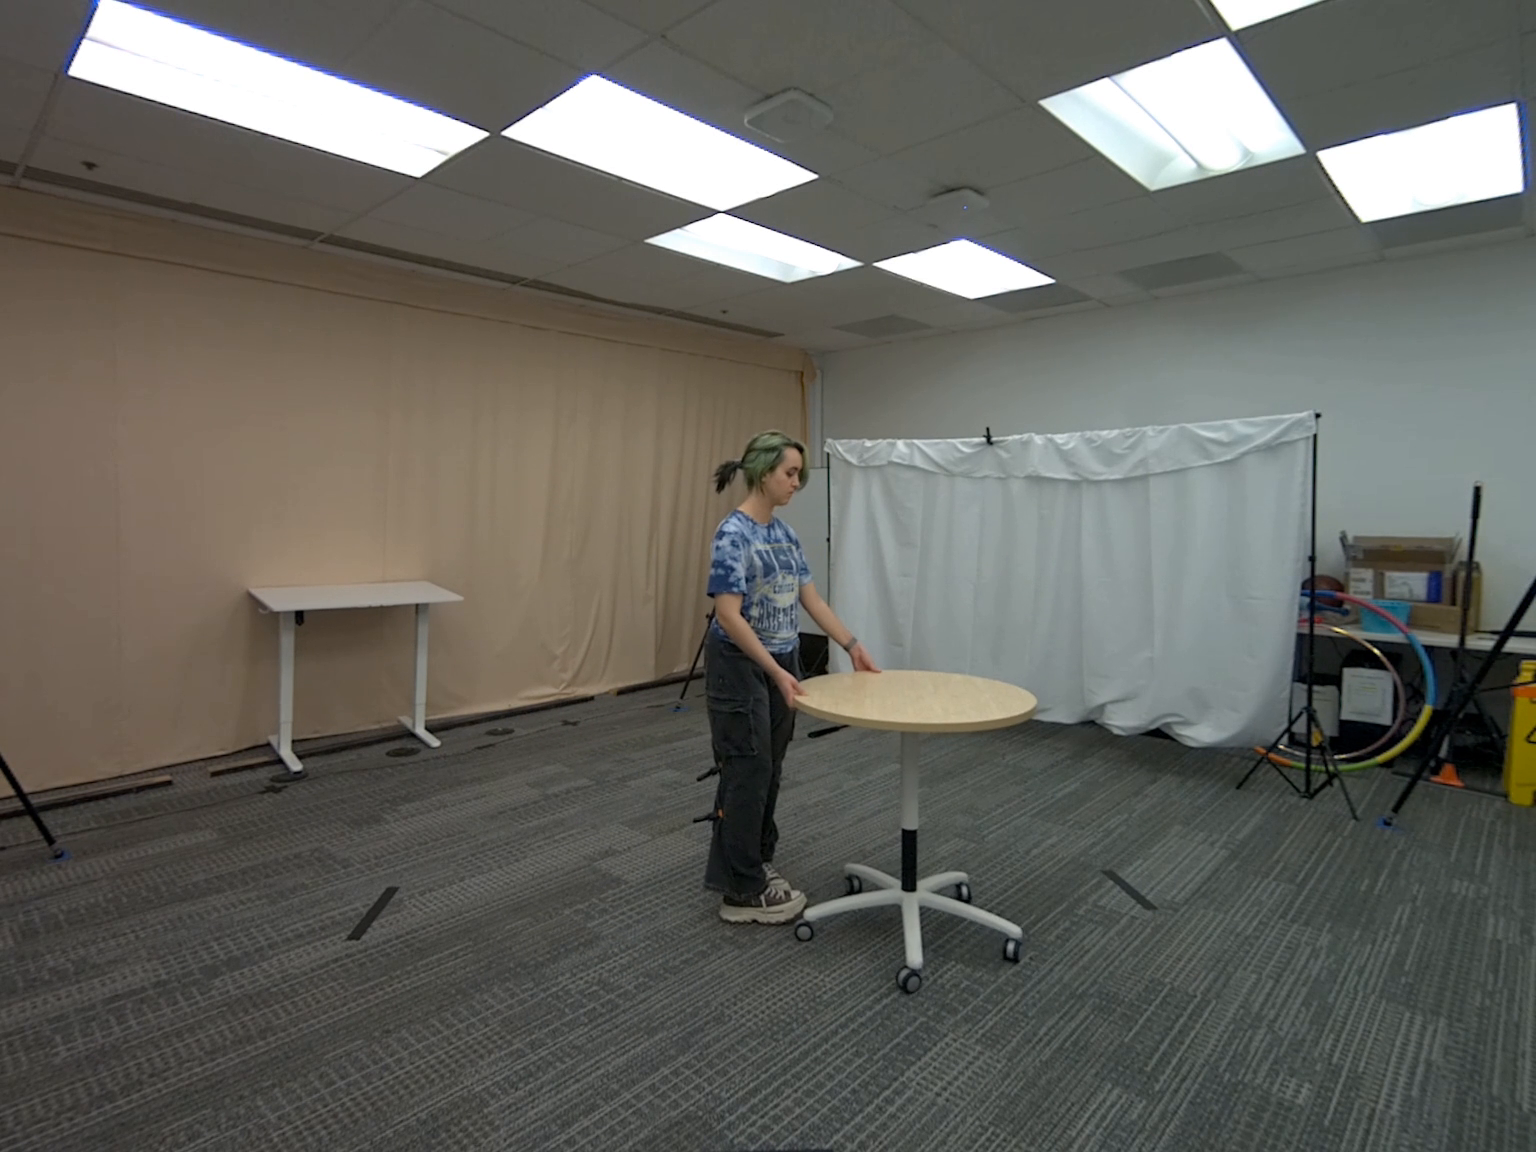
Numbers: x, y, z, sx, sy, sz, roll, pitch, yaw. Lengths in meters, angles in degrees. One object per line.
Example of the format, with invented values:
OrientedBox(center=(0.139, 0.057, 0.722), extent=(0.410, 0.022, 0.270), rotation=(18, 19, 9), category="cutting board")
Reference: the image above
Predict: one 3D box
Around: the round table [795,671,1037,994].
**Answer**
OrientedBox(center=(0.459, 0.773, 2.730), extent=(0.763, 0.792, 0.766), rotation=(0, 4, -2), category="round table")
